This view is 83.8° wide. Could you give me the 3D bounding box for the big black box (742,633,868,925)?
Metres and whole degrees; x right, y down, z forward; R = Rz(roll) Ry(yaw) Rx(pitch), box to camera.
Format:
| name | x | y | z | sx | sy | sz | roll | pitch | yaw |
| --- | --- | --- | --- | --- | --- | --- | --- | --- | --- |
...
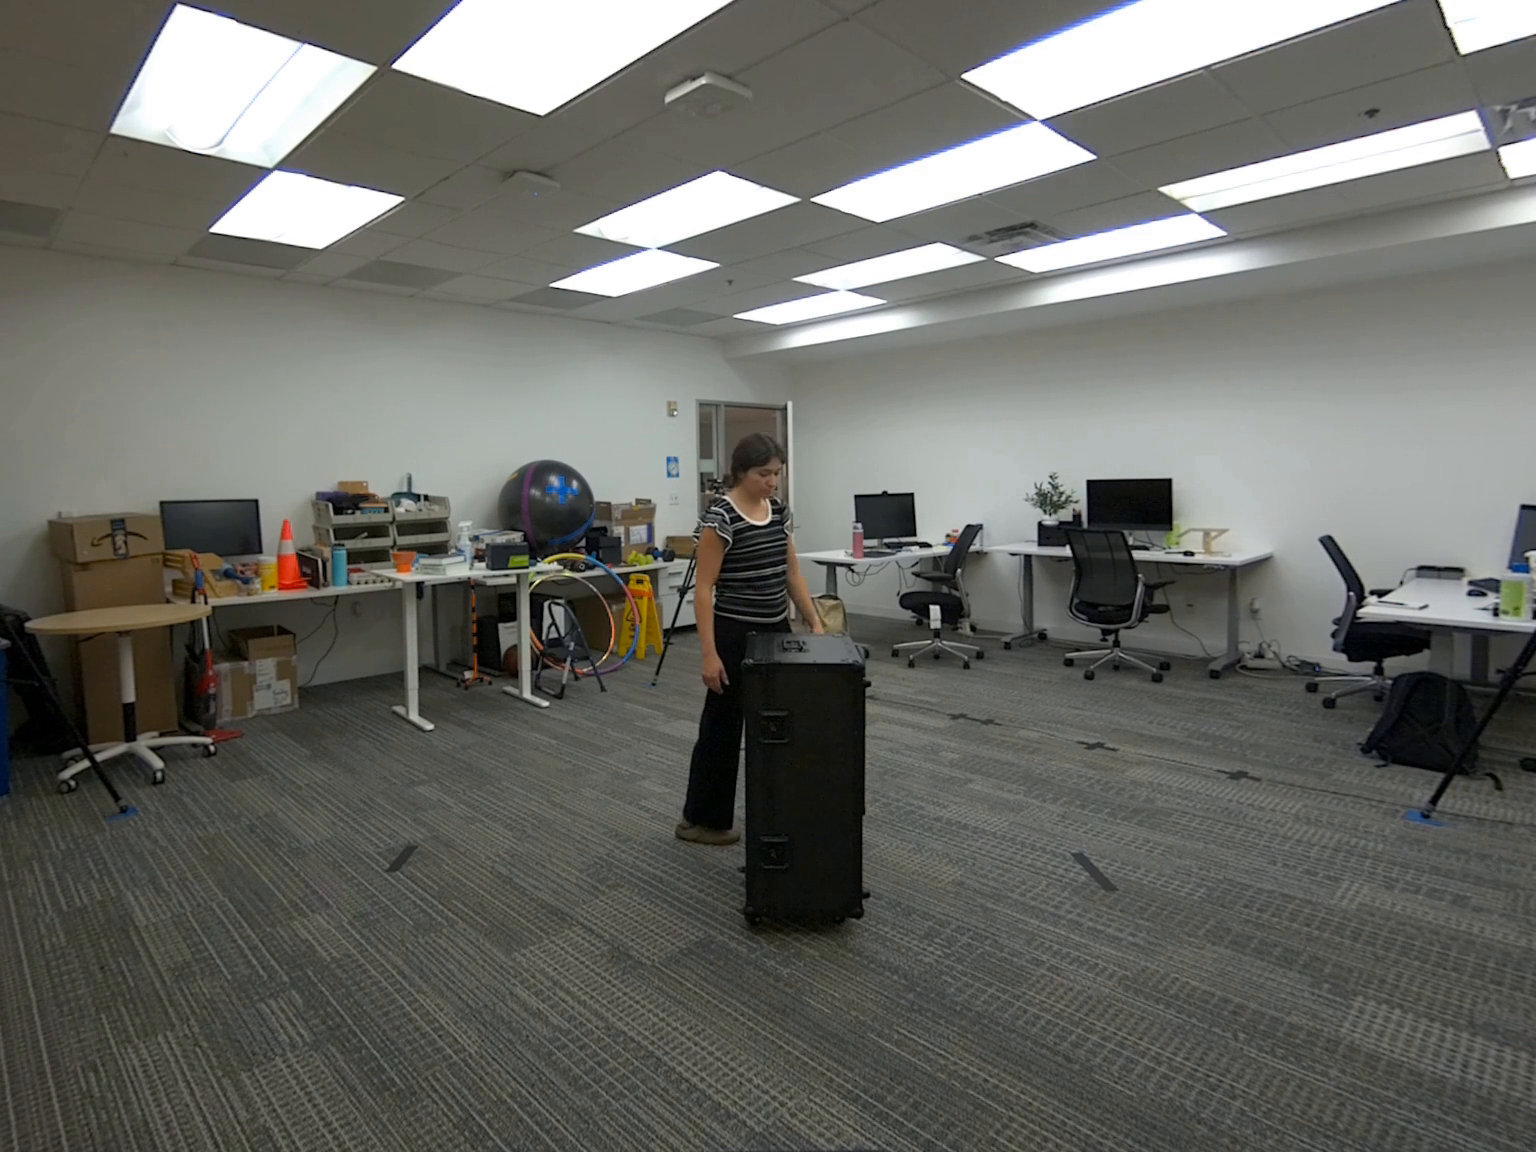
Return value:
| name | x | y | z | sx | sy | sz | roll | pitch | yaw |
| --- | --- | --- | --- | --- | --- | --- | --- | --- | --- |
| big black box | 0.126 | 0.661 | 2.794 | 0.398 | 0.859 | 0.520 | 1 | 3 | 3 |
